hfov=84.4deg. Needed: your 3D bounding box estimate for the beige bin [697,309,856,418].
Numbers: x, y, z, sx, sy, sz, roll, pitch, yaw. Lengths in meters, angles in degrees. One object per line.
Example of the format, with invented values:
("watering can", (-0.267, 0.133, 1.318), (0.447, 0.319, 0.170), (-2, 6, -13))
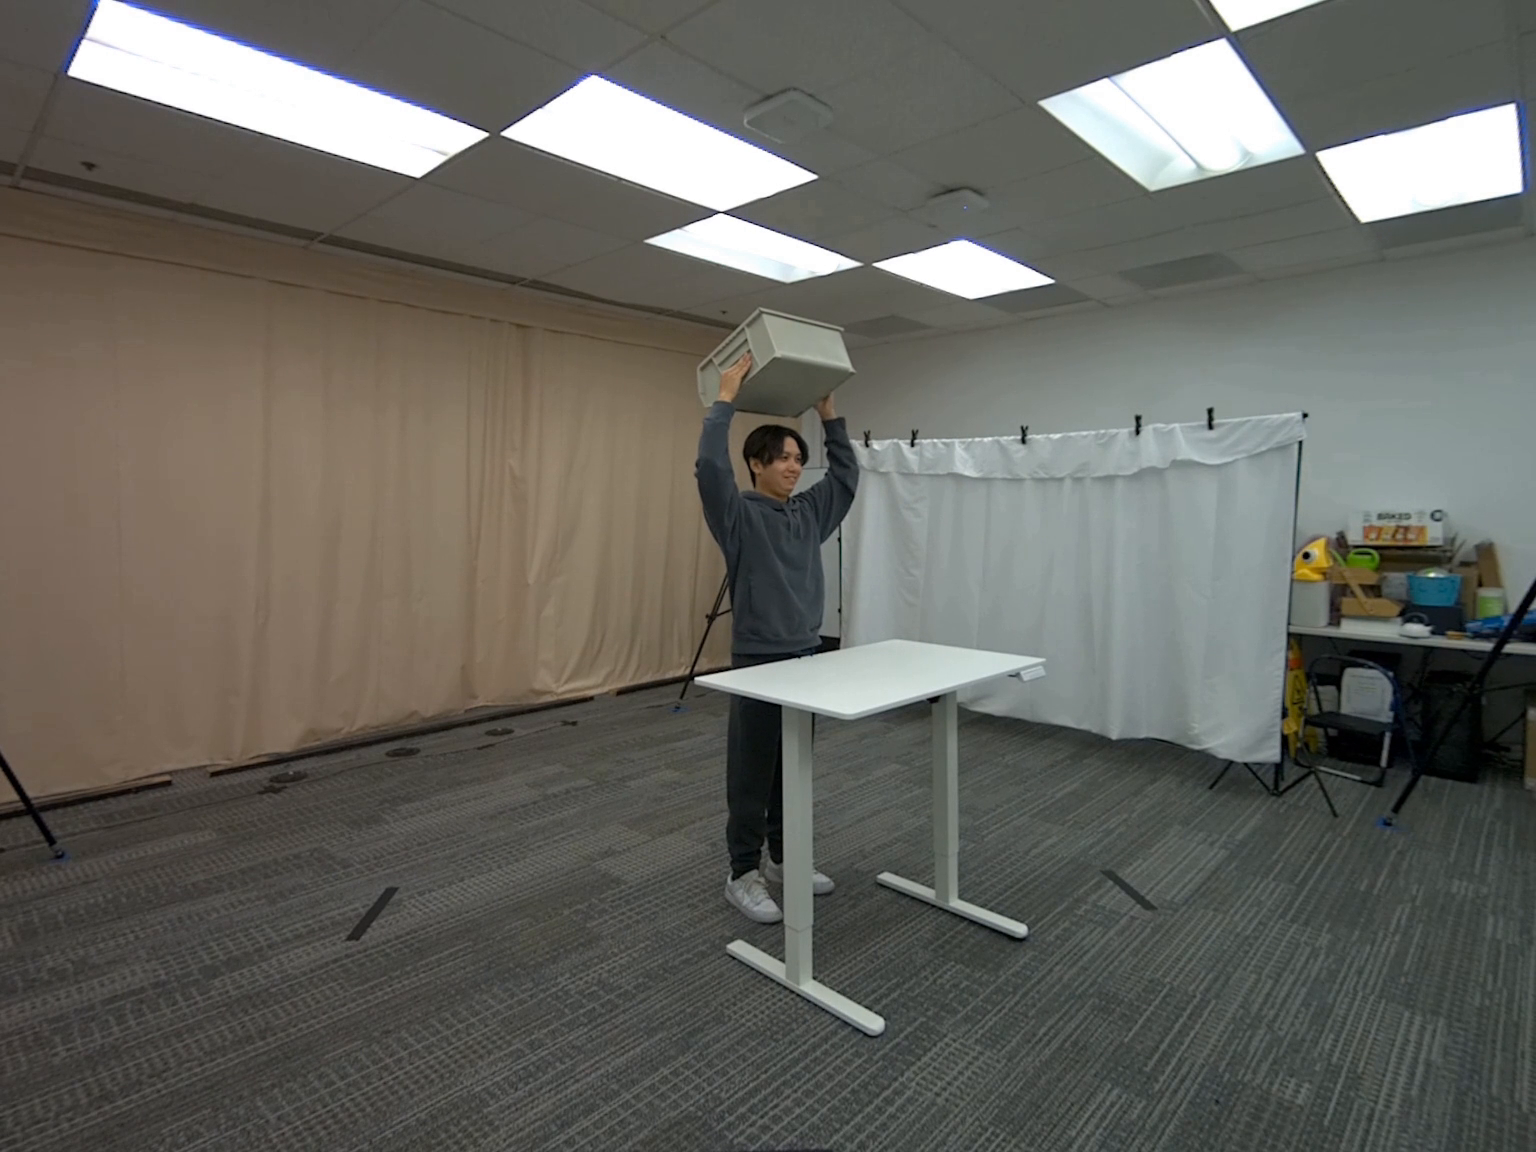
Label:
("beige bin", (0.028, -0.712, 2.940), (0.409, 0.192, 0.384), (-2, -22, -44))
